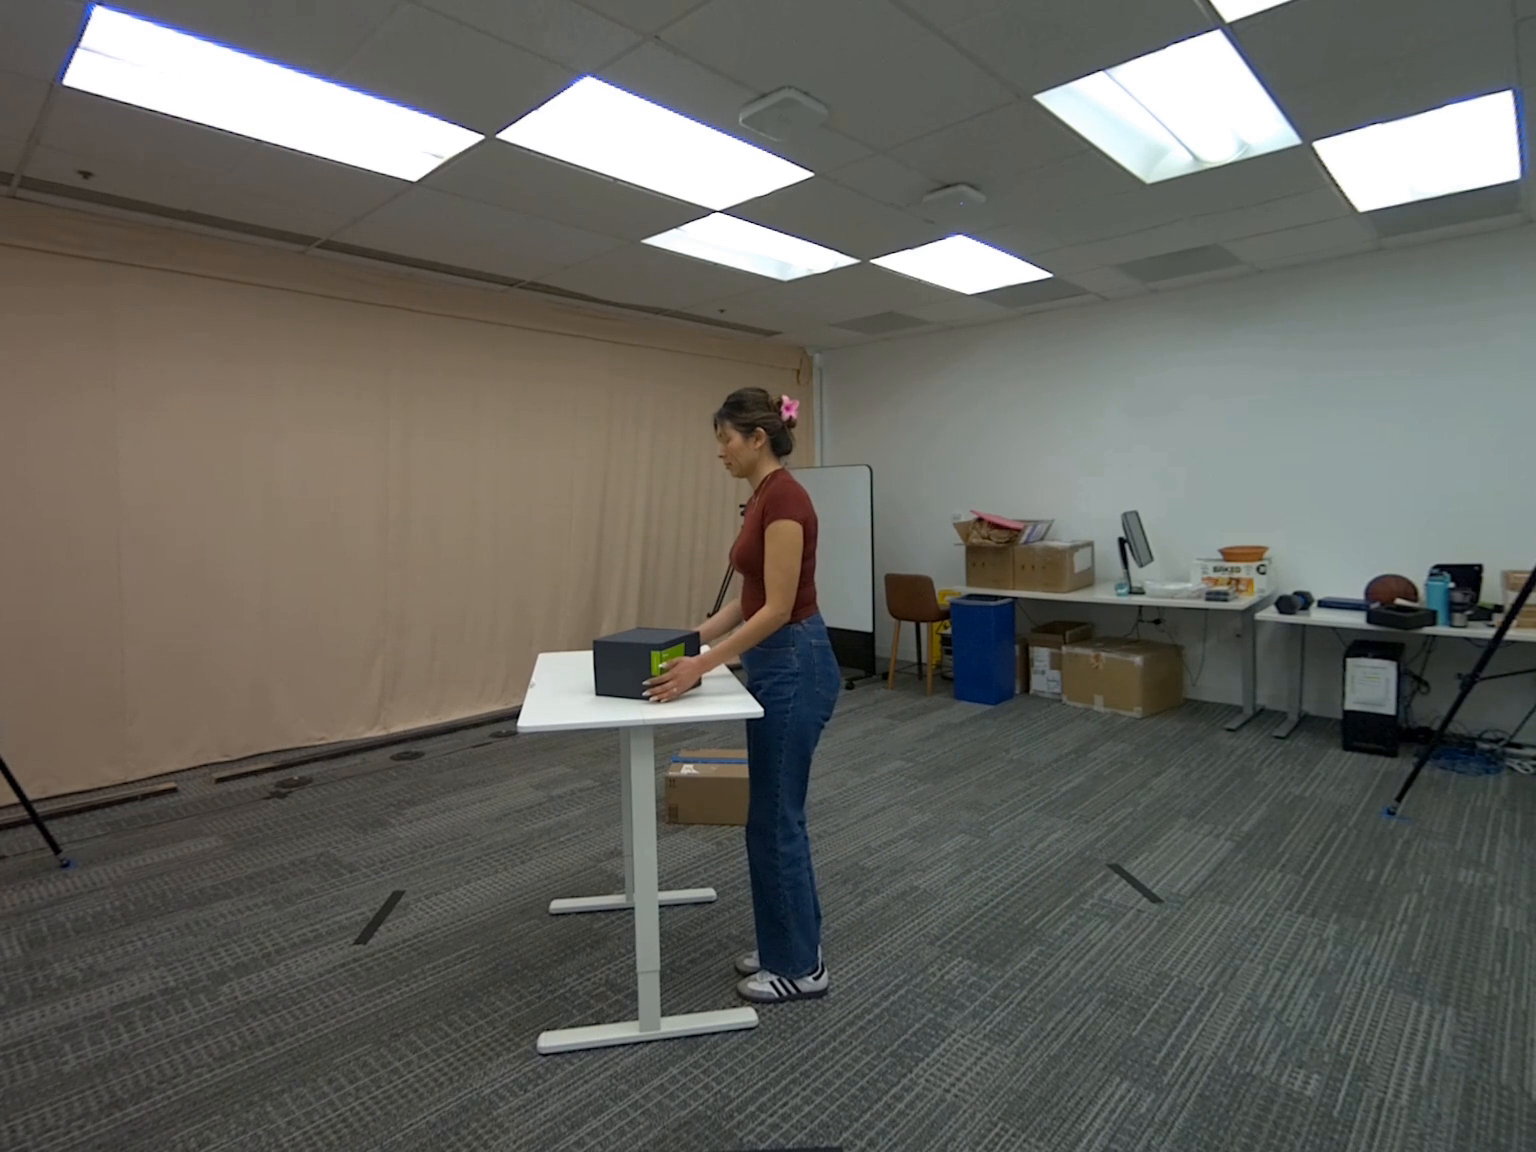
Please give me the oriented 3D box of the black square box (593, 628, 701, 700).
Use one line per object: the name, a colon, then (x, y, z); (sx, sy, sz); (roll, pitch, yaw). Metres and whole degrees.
black square box: (-0.334, 0.242, 2.340); (0.222, 0.155, 0.223); (1, 4, 24)
